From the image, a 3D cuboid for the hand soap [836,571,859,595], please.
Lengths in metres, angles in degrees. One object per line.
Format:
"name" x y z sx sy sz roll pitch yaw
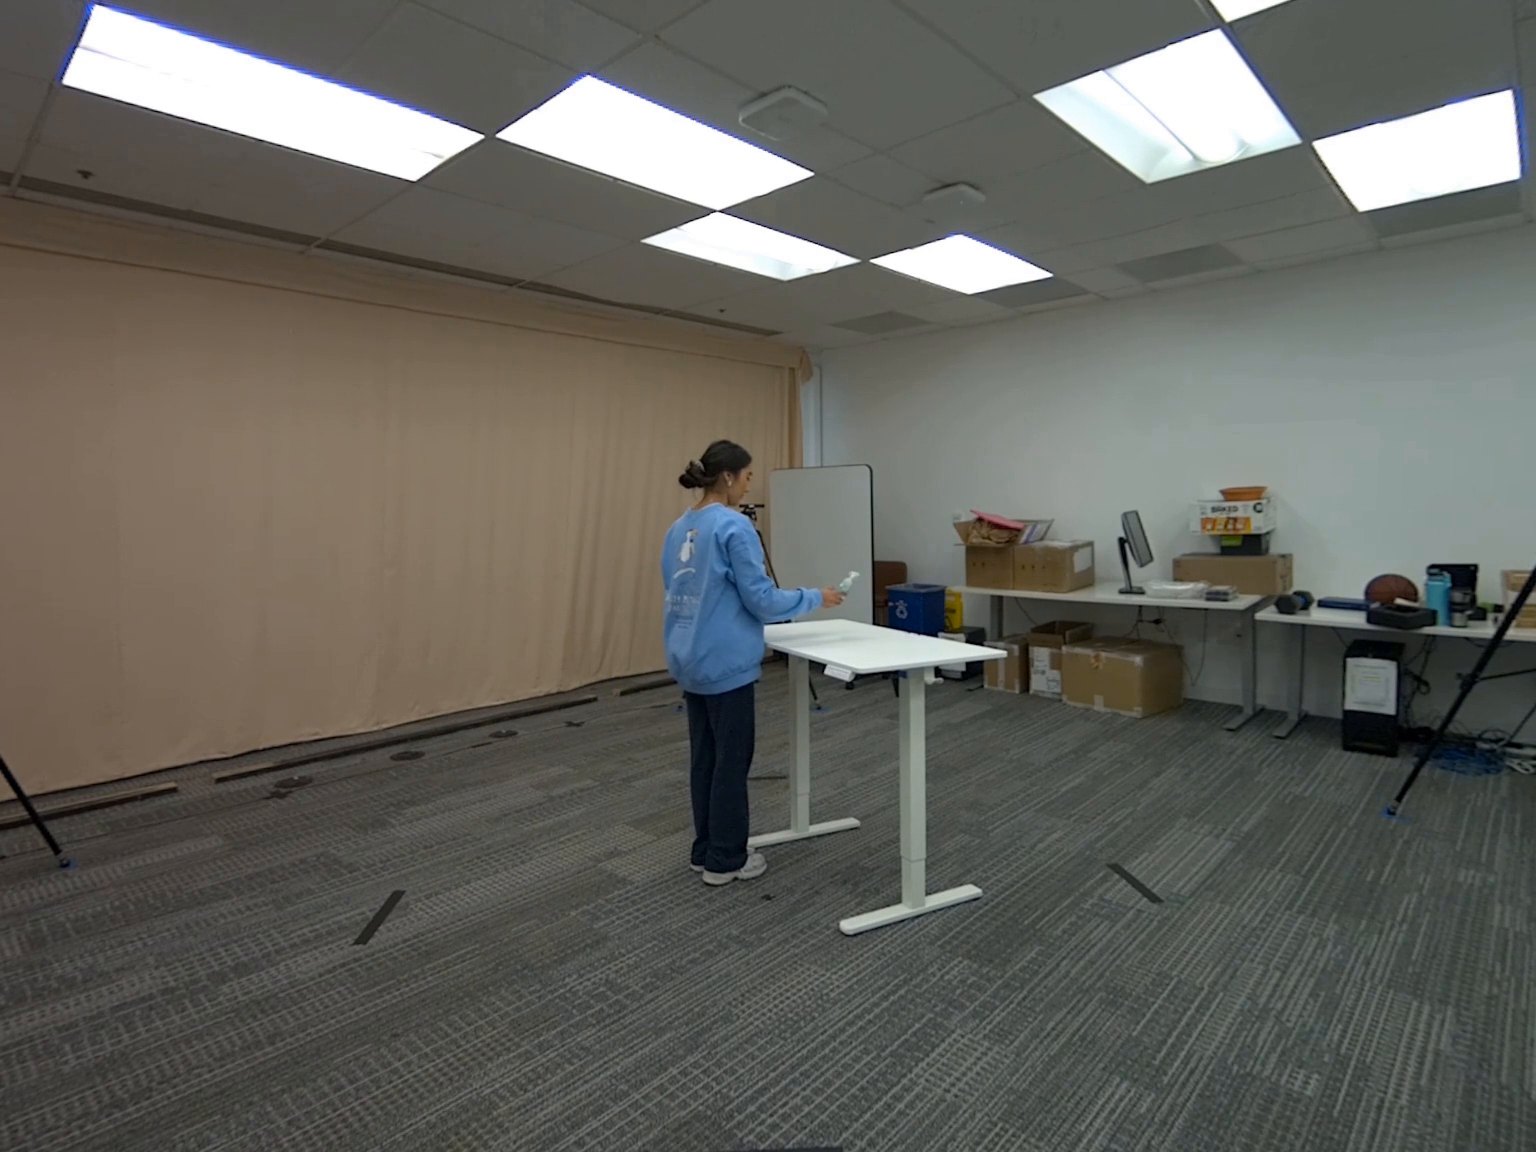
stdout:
"hand soap" 0.291 0.052 3.172 0.082 0.168 0.044 -11 53 -44
